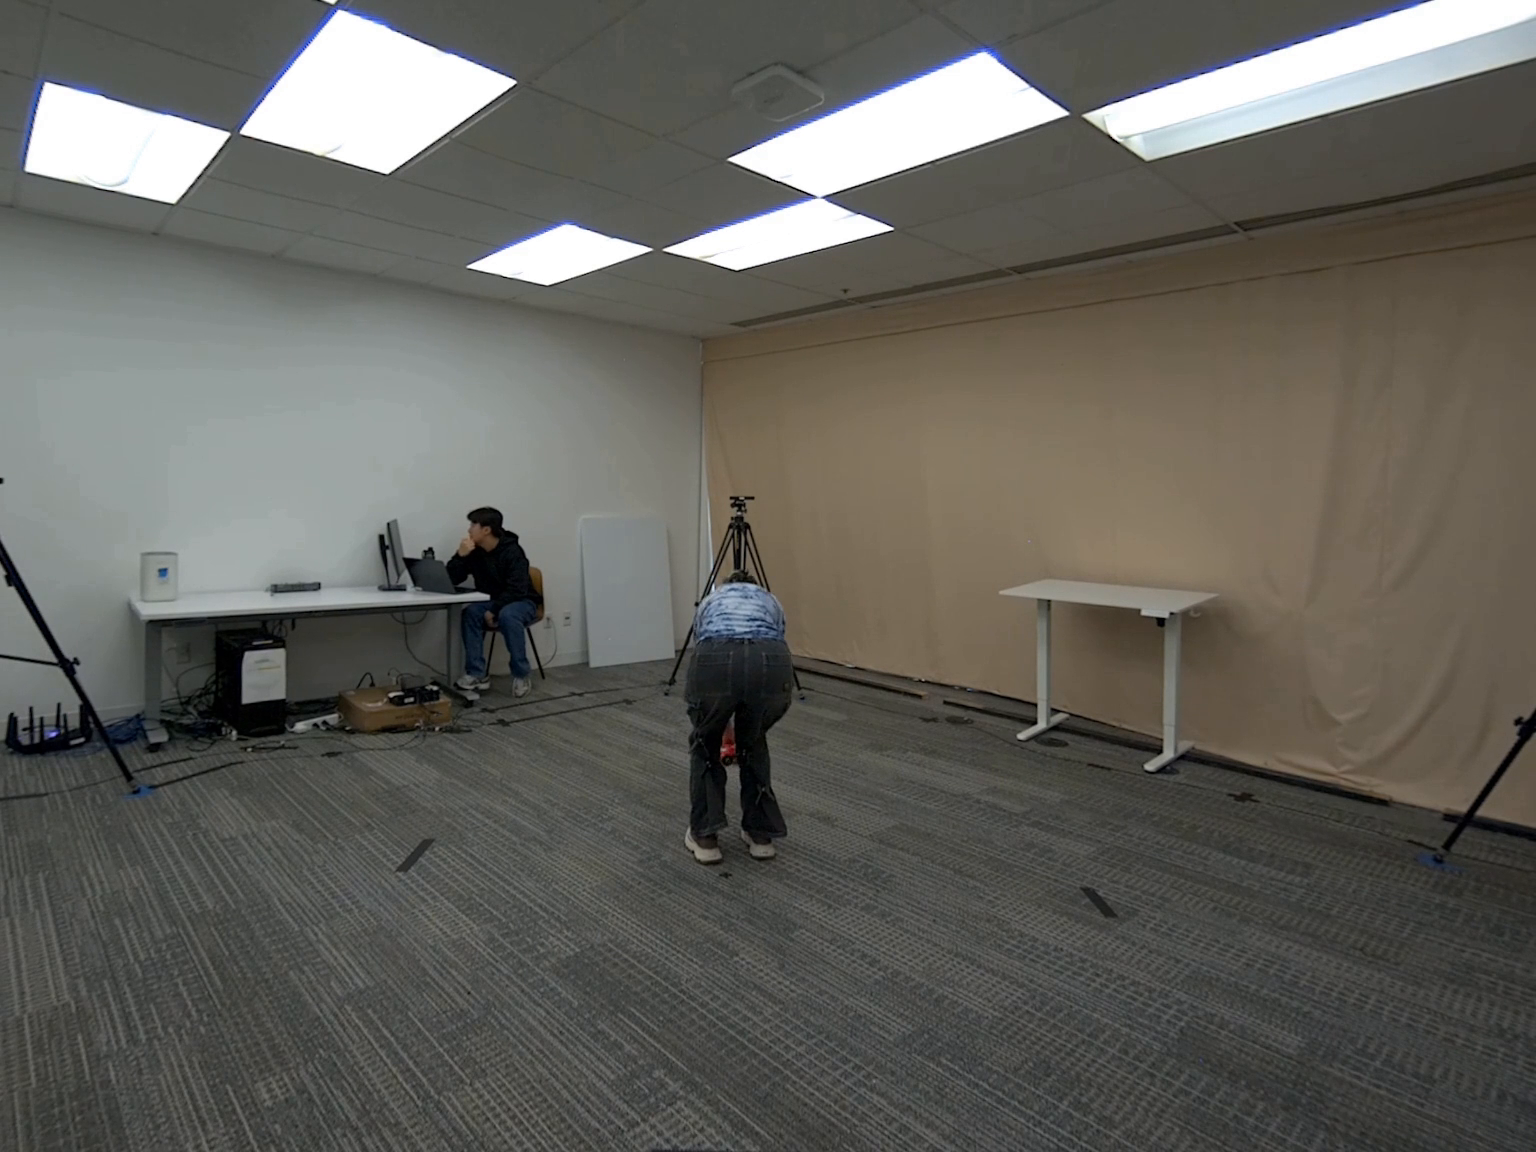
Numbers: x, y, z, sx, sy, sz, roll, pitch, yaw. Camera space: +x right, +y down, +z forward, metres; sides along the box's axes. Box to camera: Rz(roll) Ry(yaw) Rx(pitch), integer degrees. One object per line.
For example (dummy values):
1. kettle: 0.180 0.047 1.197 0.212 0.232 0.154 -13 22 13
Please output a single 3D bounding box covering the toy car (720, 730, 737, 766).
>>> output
1. toy car: -0.155 0.778 3.612 0.249 0.083 0.132 18 -4 -21
